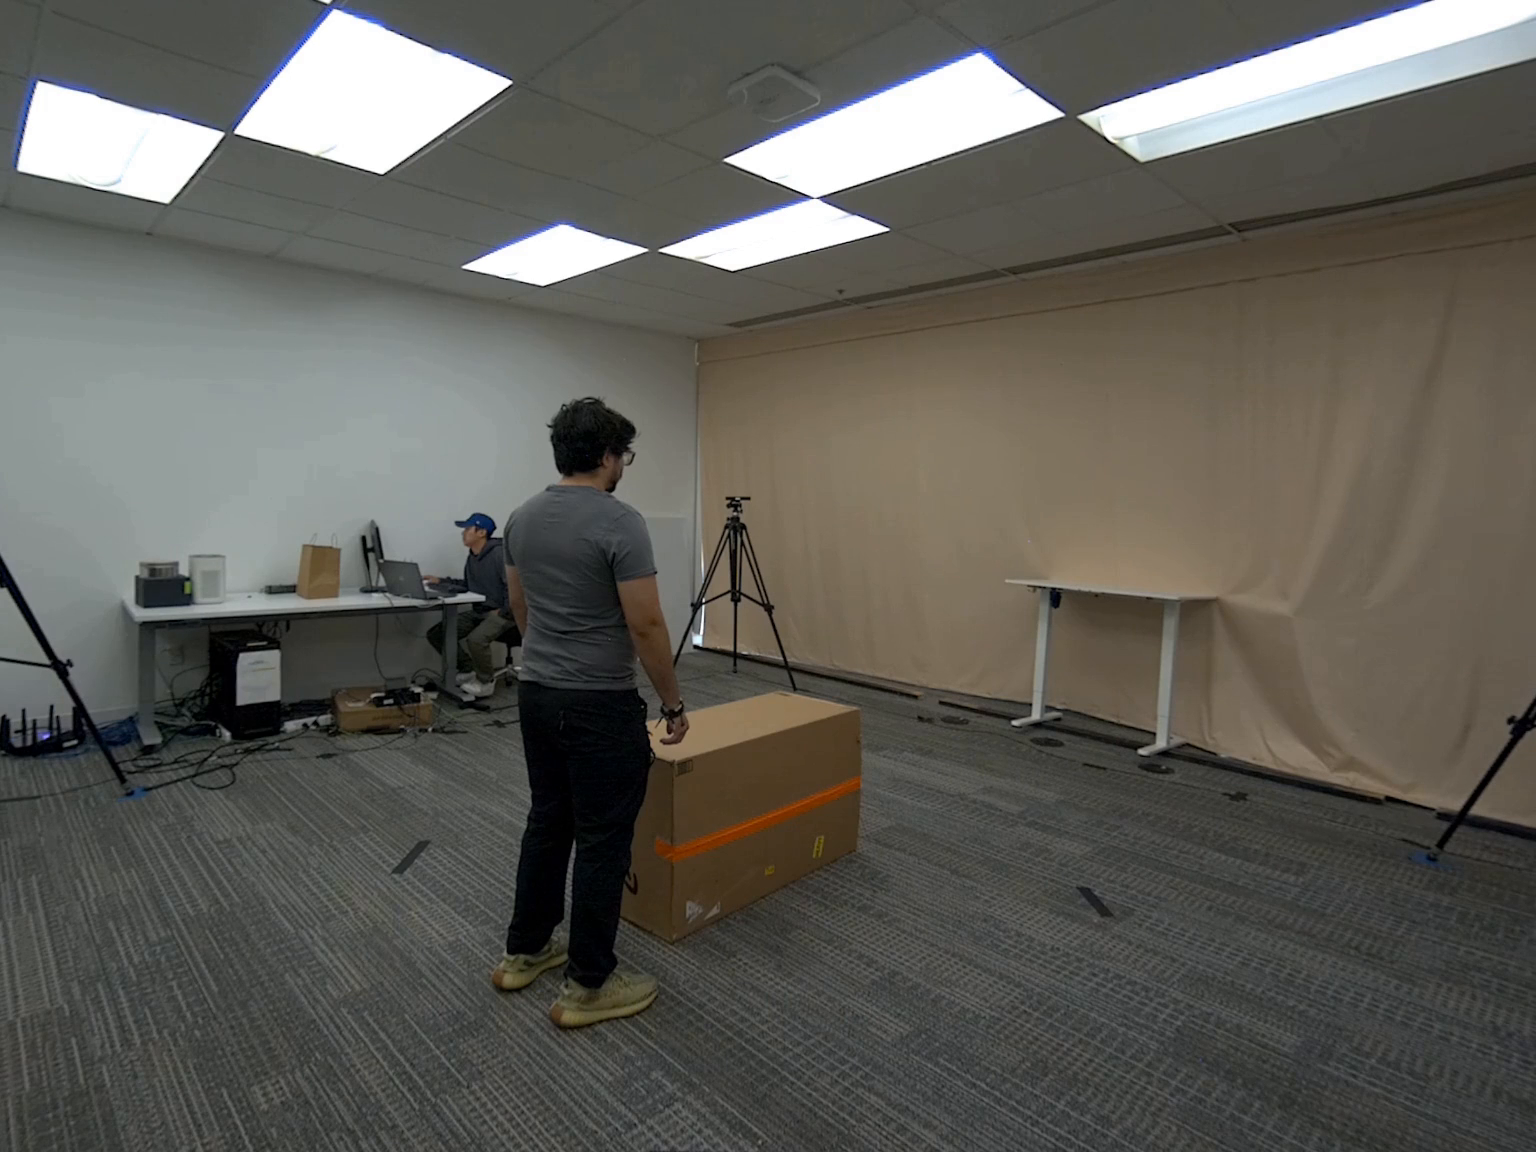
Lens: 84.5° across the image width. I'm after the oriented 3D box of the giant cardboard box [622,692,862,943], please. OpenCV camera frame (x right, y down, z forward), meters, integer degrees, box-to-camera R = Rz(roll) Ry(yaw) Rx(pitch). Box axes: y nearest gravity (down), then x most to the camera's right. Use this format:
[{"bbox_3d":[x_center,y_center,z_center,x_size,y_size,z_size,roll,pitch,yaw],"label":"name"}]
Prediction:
[{"bbox_3d":[-0.125,0.815,3.109,0.437,0.576,1.003,5,6,41],"label":"giant cardboard box"}]
